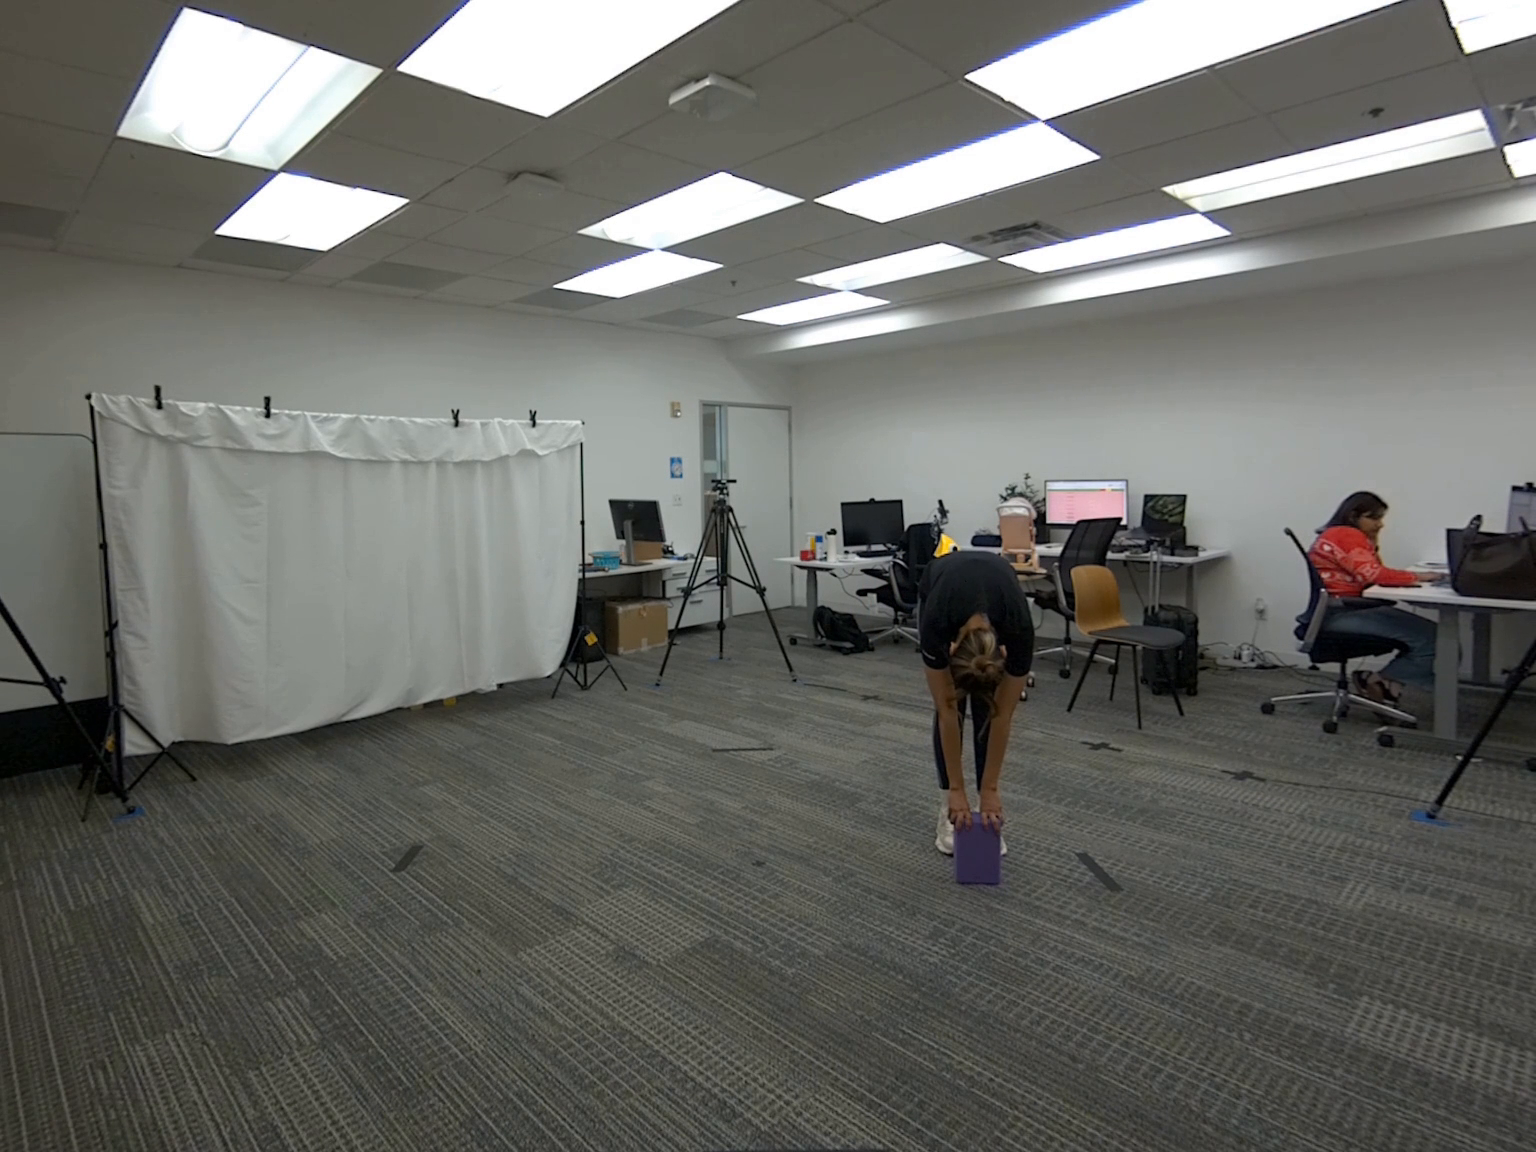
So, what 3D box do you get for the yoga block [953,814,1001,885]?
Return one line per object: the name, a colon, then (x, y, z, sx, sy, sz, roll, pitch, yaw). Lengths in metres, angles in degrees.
yoga block: (0.724, 0.945, 2.941, 0.150, 0.229, 0.076, -2, 3, 5)
